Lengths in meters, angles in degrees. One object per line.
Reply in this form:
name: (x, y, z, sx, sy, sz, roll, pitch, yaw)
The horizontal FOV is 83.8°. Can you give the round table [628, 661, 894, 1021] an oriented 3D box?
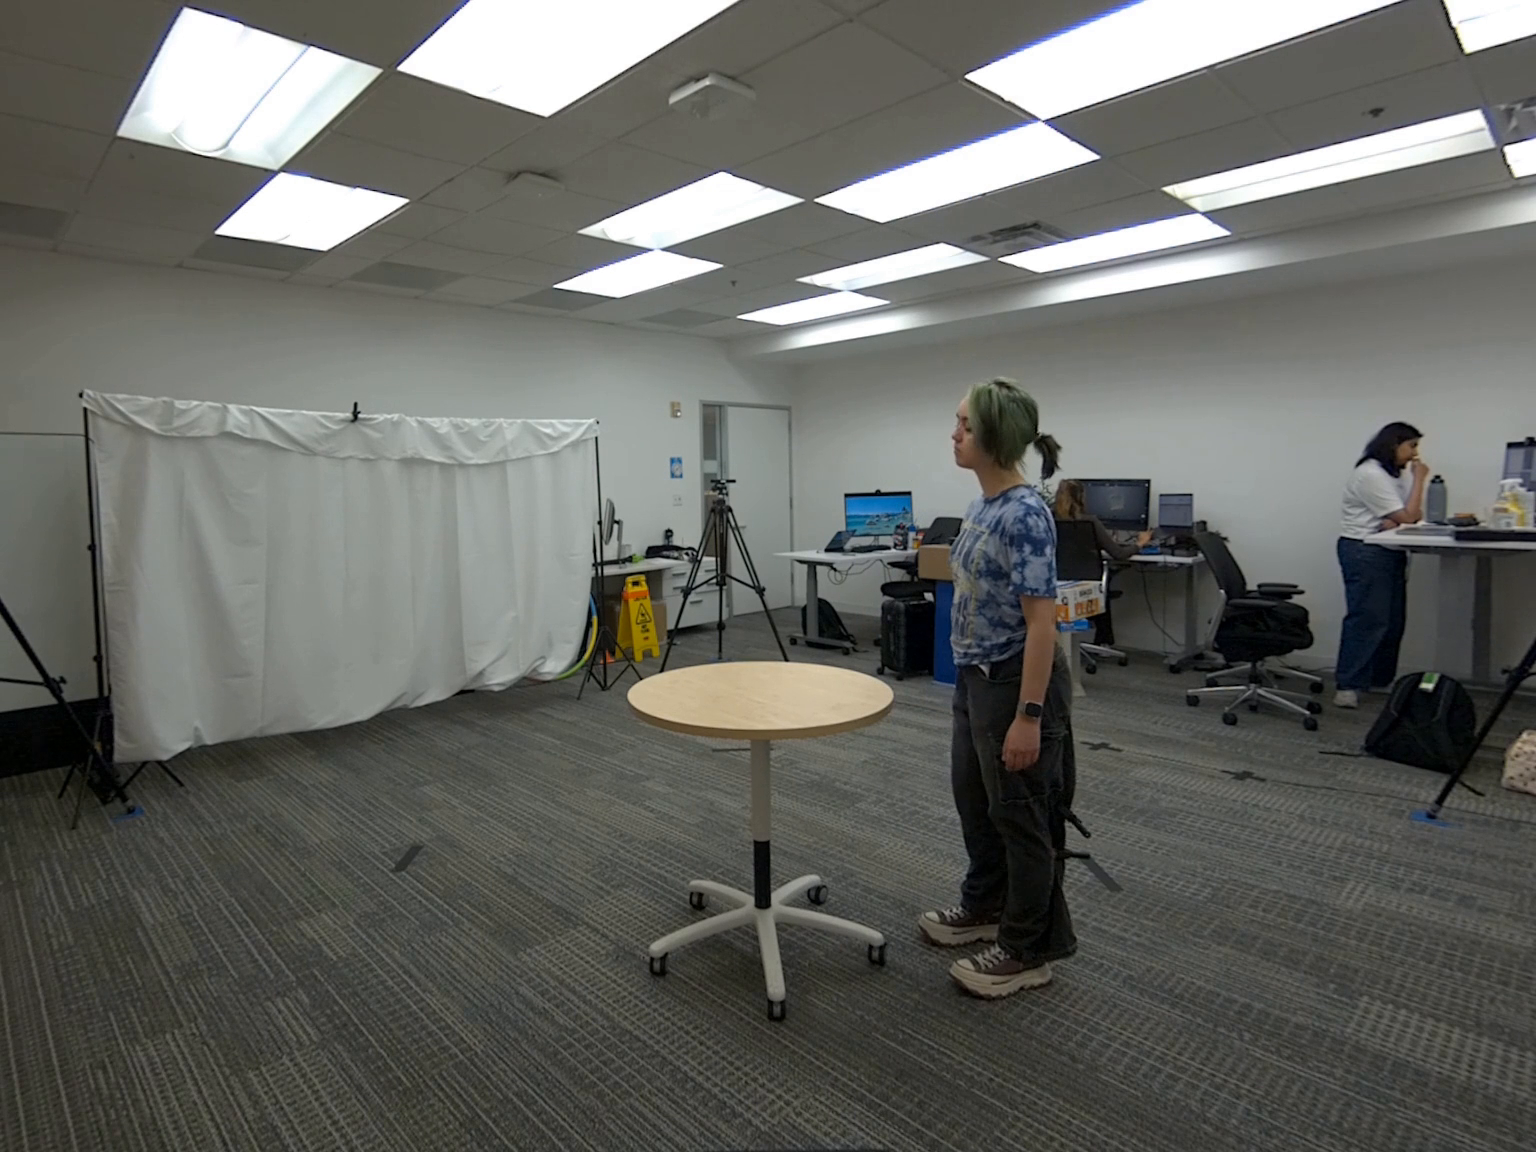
round table: (-0.012, 0.729, 2.507, 0.763, 0.791, 0.768, -1, 5, -2)
